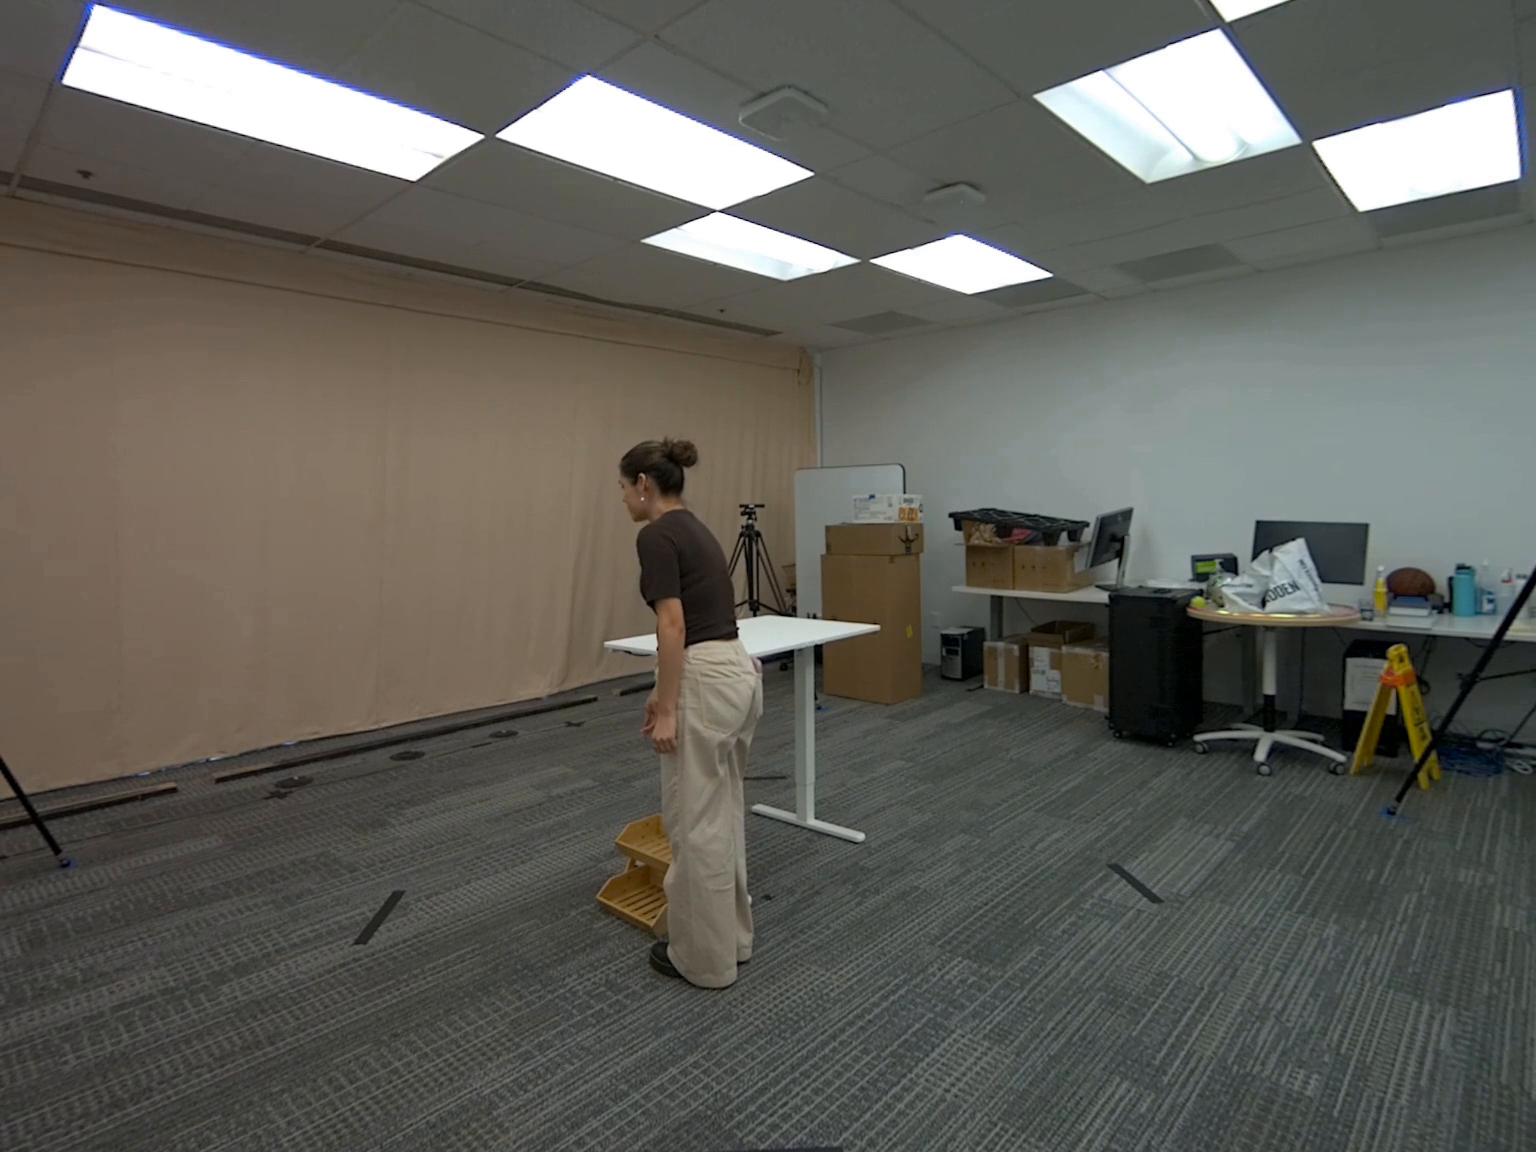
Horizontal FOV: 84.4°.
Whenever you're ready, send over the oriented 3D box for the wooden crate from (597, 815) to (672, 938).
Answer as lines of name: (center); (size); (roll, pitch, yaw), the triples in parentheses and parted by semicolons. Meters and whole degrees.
wooden crate: (-0.383, 1.021, 2.906); (0.335, 0.273, 0.293); (2, 5, 42)
